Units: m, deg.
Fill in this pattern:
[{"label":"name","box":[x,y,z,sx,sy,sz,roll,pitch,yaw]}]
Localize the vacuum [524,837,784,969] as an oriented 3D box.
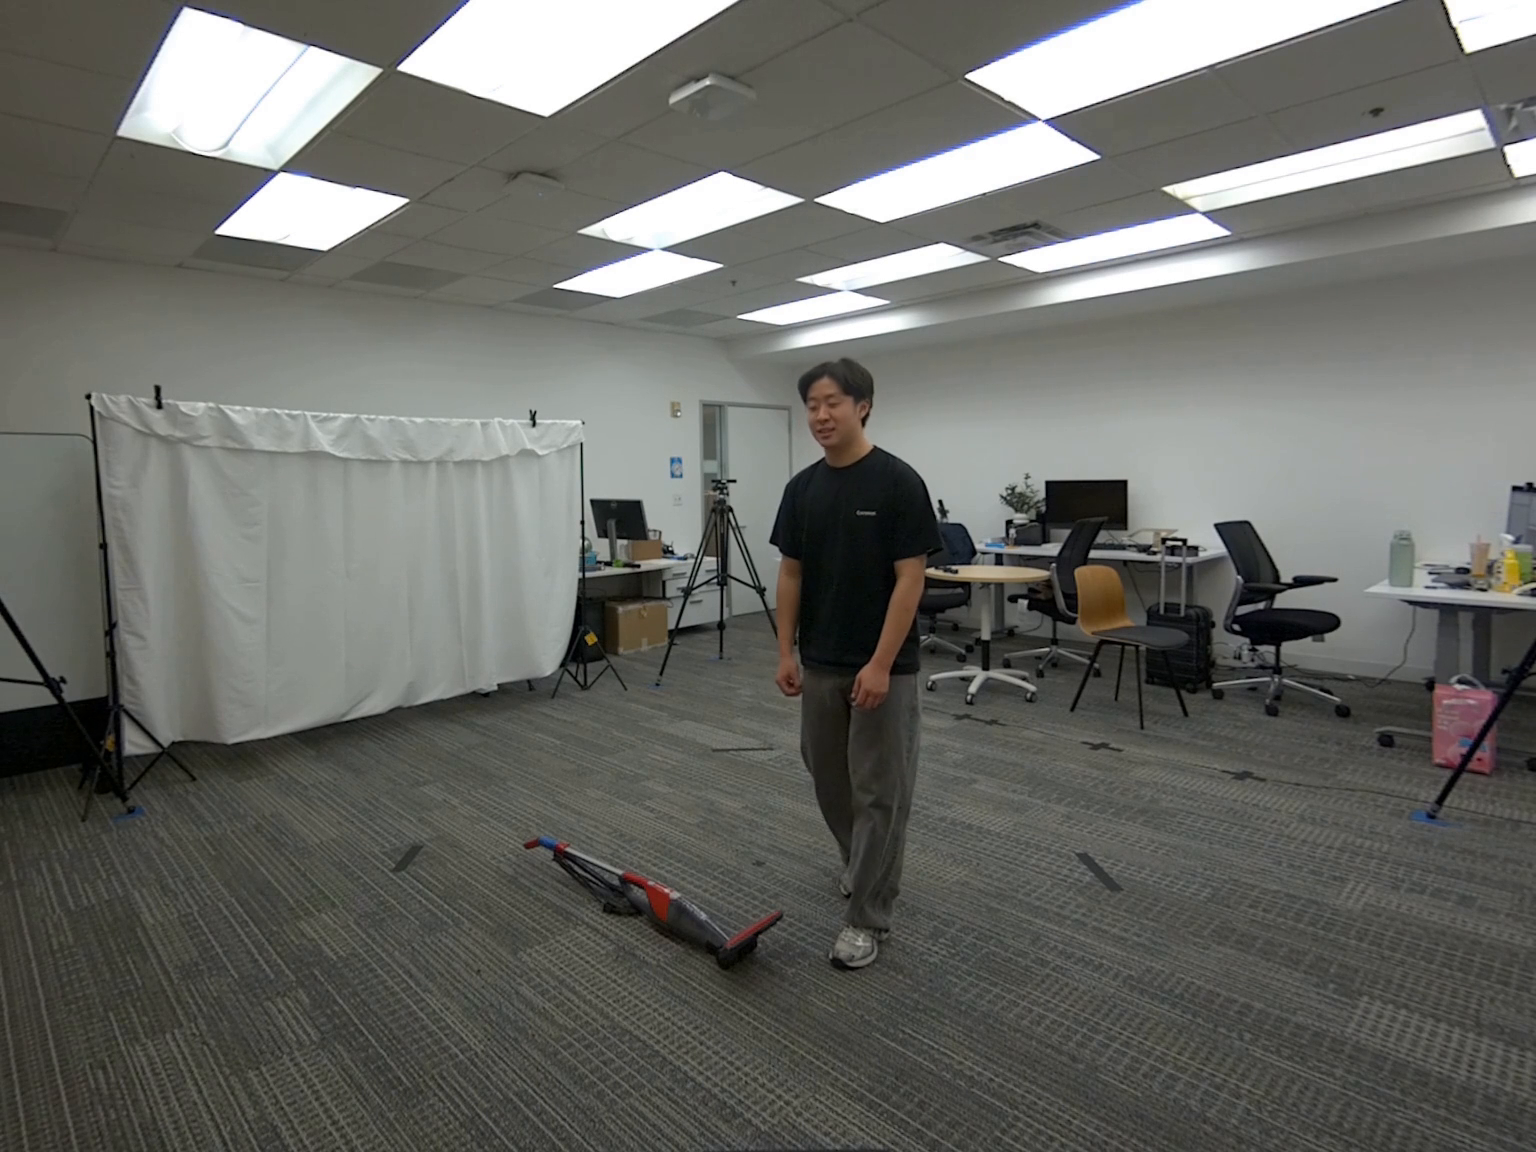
[{"label":"vacuum","box":[-0.464,1.035,2.802,1.081,0.143,0.246,4,8,39]}]
